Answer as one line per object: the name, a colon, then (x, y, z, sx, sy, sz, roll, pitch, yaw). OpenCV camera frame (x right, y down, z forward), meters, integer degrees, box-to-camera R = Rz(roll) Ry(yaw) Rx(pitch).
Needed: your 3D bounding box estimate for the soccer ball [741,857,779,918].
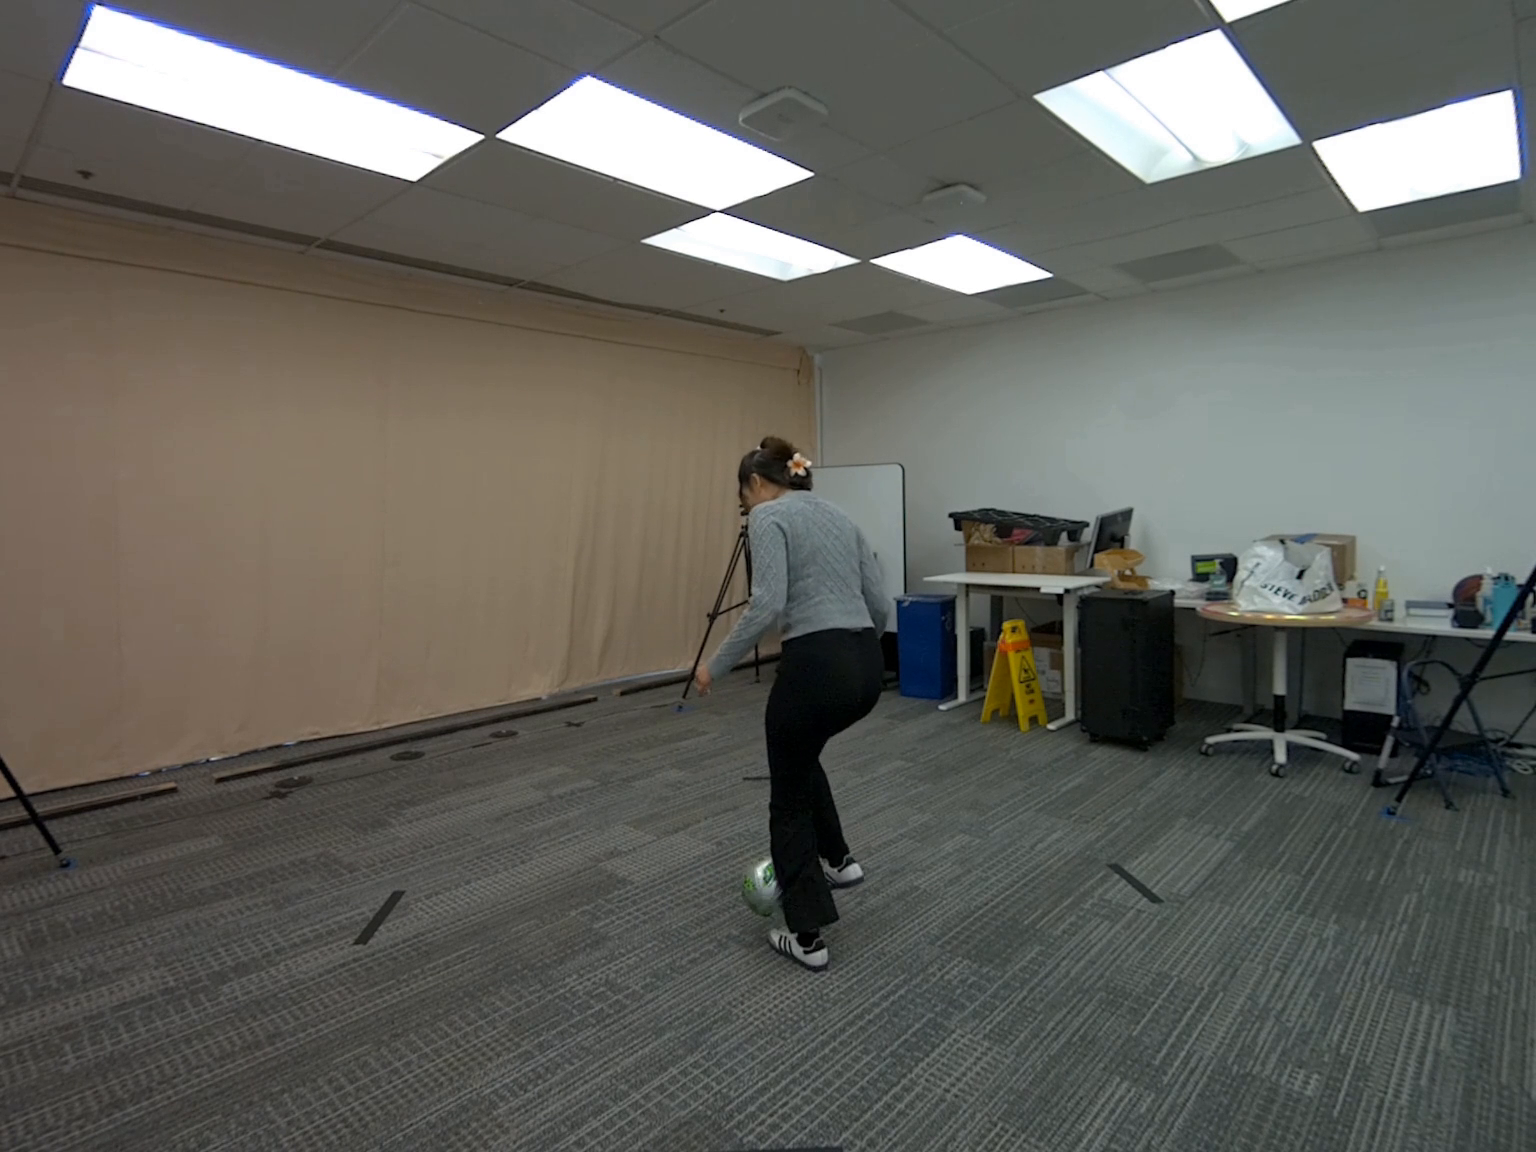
soccer ball: (-0.017, 1.019, 2.723, 0.187, 0.187, 0.188, -1, 4, -2)
